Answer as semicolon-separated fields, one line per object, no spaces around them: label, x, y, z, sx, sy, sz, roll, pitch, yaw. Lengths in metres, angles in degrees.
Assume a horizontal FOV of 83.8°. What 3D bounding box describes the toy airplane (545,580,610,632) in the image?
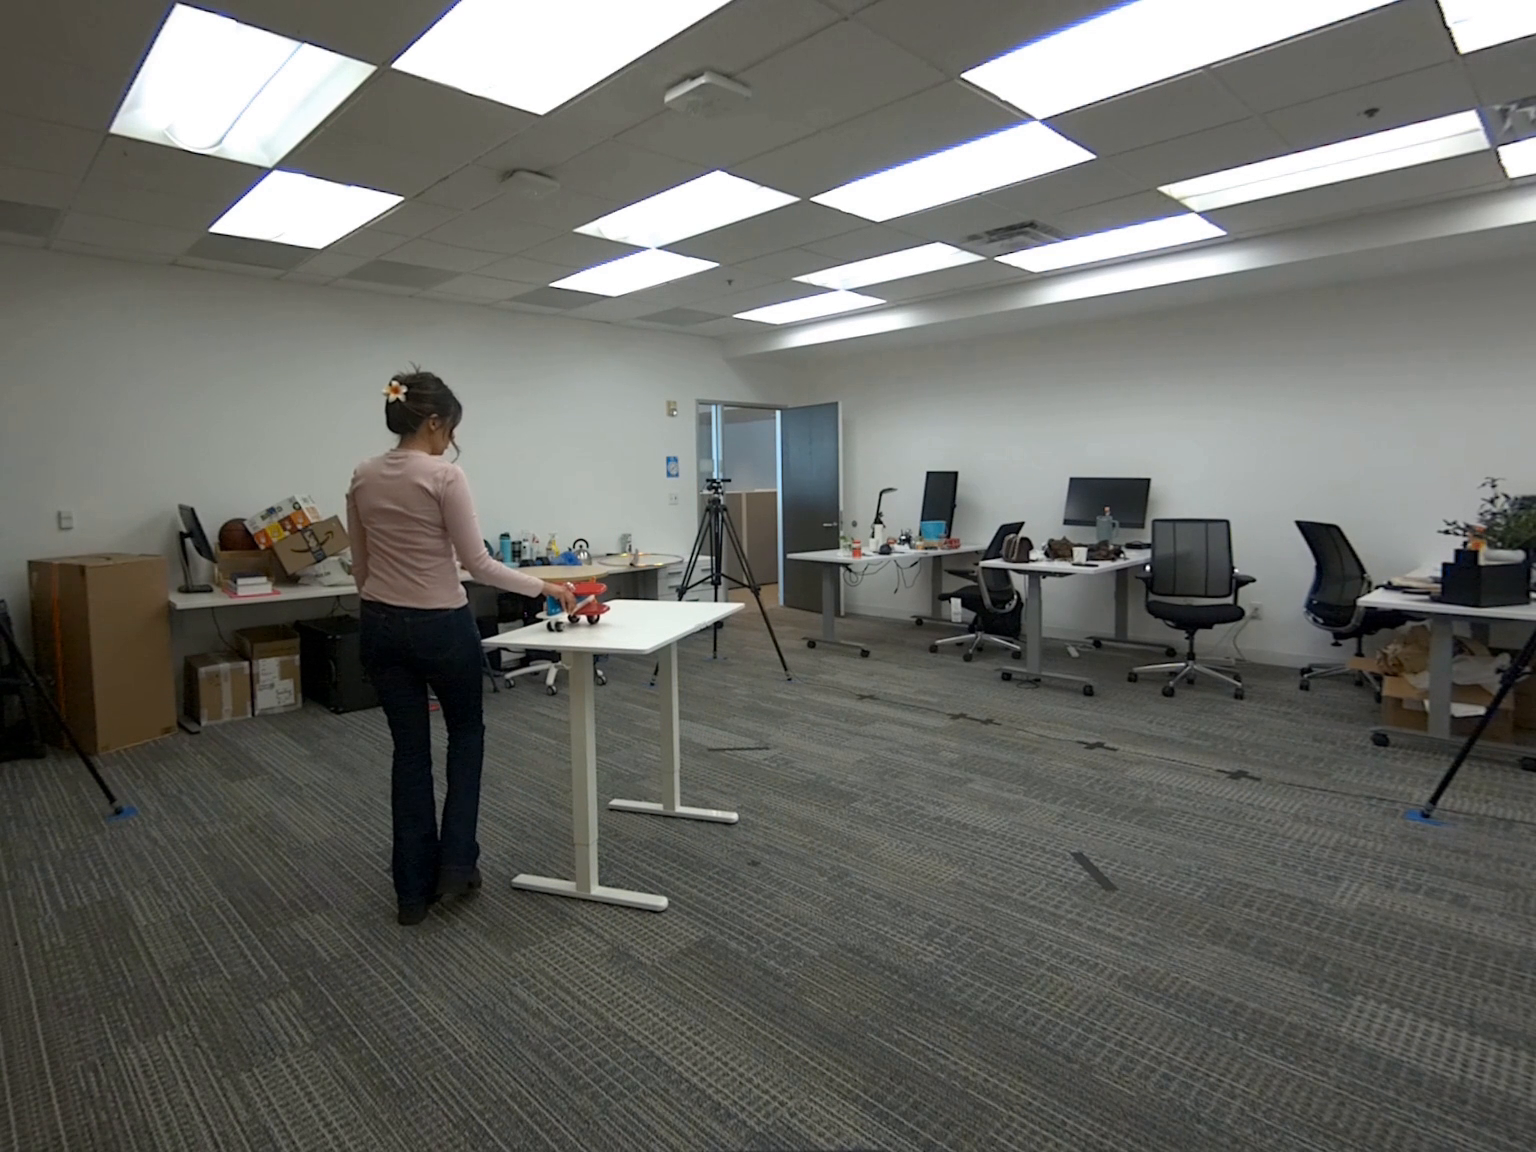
toy airplane;-0.685;0.107;3.044;0.249;0.156;0.262;-3;6;-7
